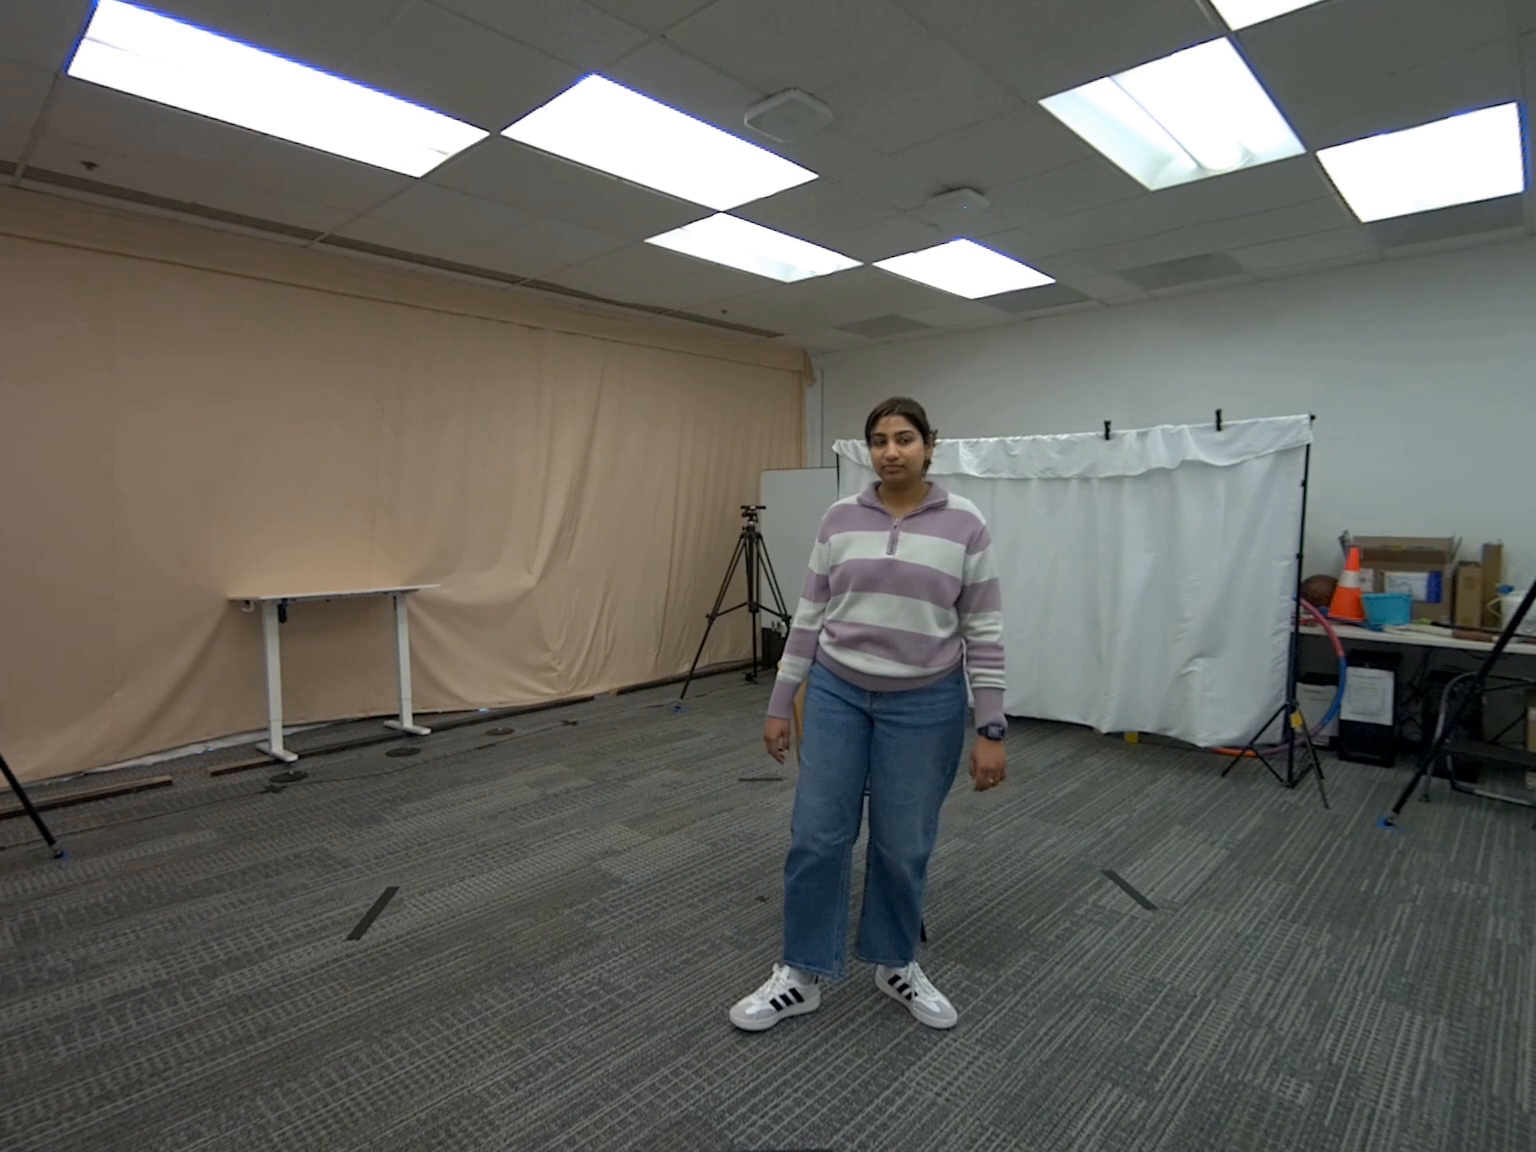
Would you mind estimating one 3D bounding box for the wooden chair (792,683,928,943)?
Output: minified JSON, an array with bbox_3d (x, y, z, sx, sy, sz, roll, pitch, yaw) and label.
[{"bbox_3d":[0.334,0.720,2.917,0.531,0.876,0.472,-3,3,13],"label":"wooden chair"}]
